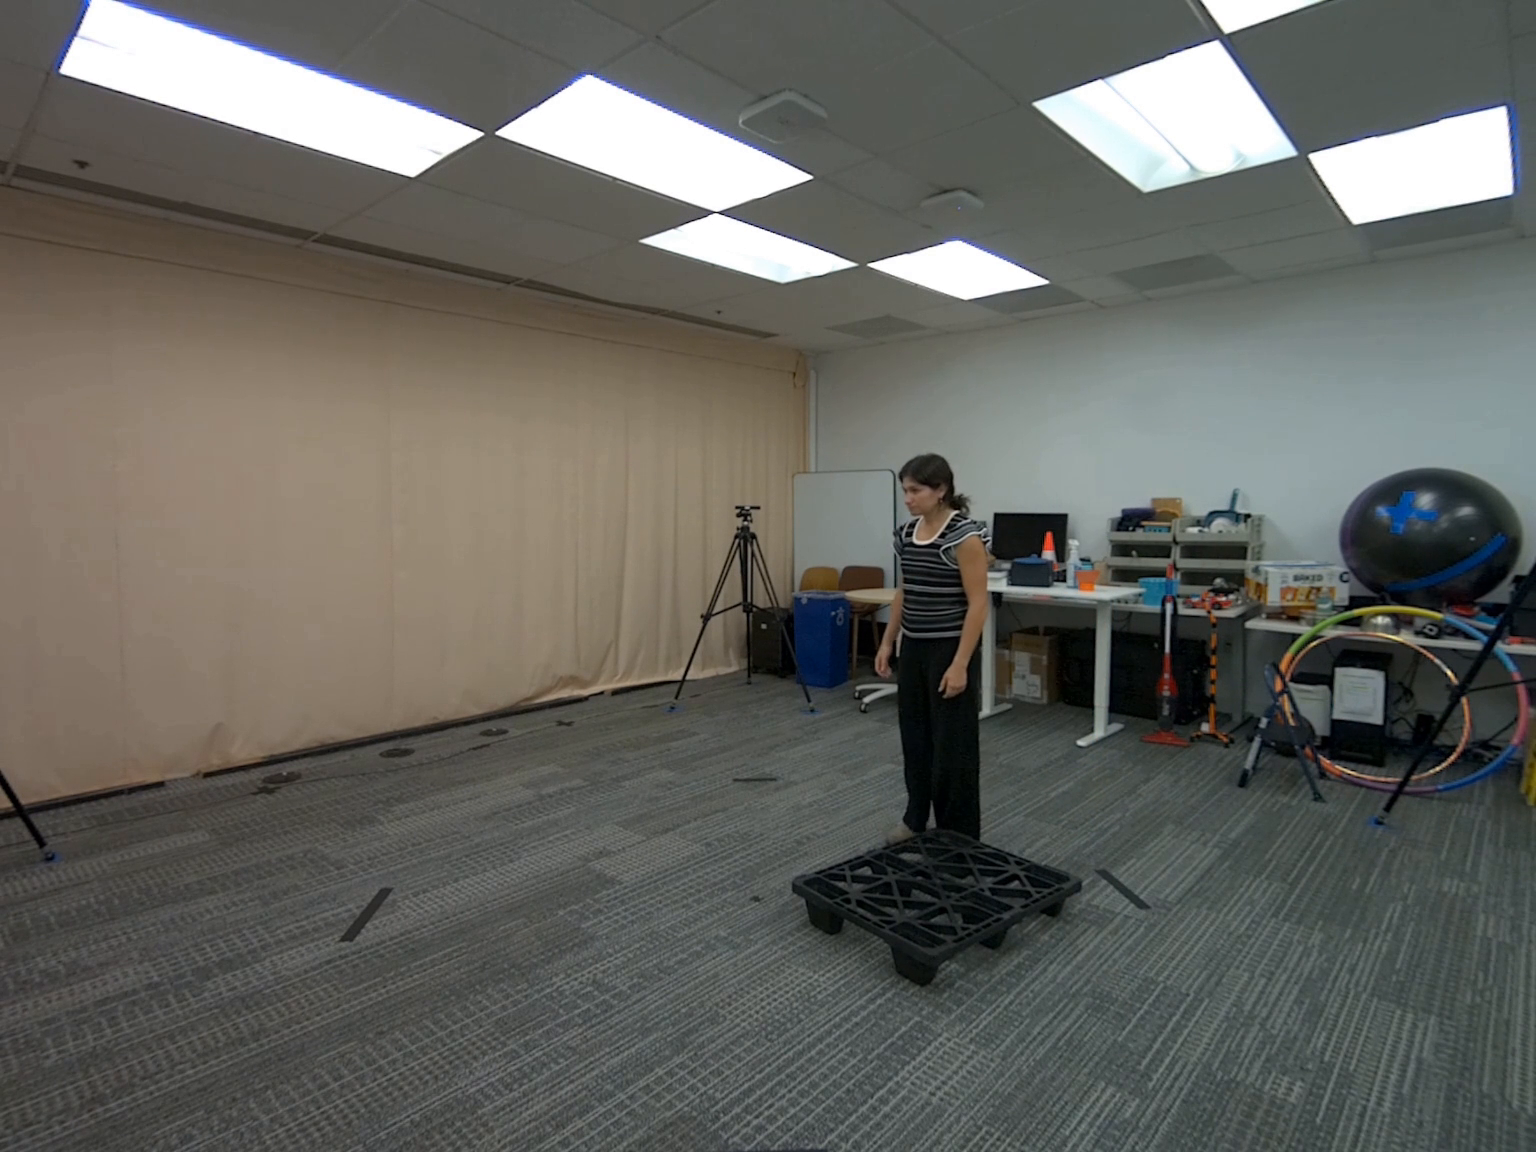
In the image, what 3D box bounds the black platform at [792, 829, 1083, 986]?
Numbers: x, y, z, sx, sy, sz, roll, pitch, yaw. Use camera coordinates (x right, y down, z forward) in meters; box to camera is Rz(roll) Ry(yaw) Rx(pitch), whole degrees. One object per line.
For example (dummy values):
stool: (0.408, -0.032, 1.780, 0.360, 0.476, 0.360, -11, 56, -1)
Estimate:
black platform: (0.578, 1.089, 2.829, 0.781, 0.143, 0.625, -4, 7, -39)
